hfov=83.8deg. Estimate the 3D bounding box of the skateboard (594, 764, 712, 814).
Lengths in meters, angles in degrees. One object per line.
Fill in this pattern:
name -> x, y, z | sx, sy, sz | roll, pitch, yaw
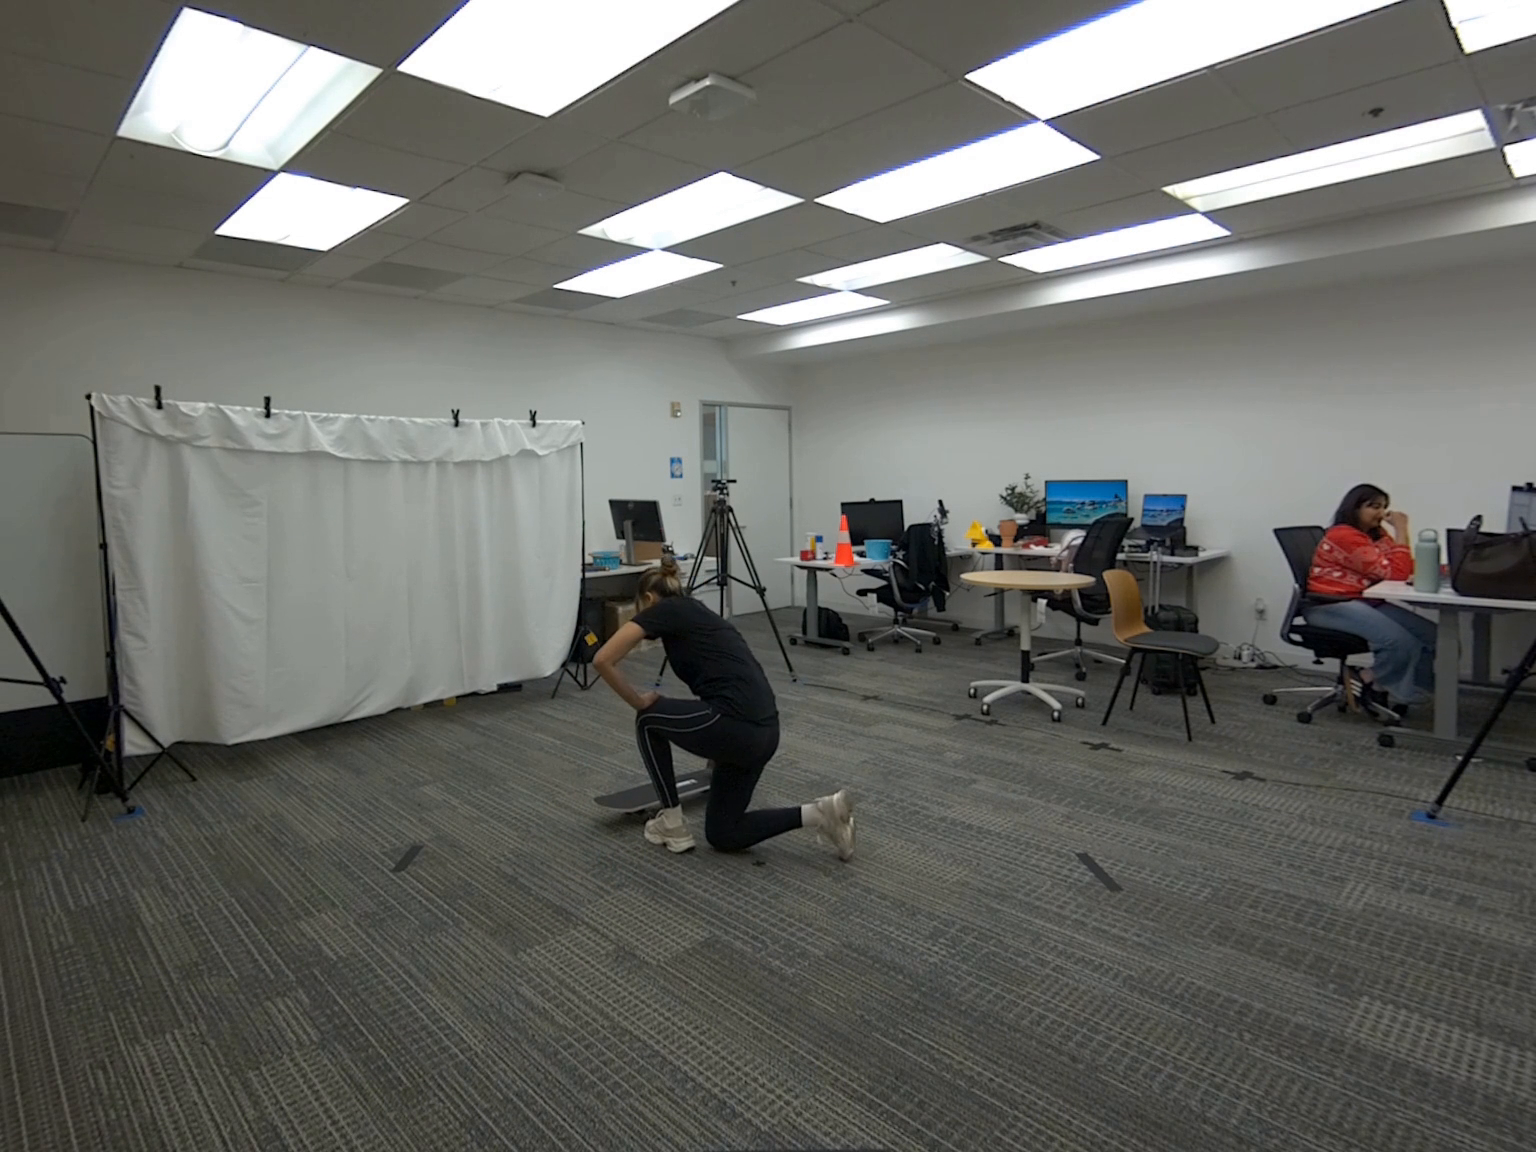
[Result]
skateboard -> -0.391, 0.929, 3.670 | 0.765, 0.110, 0.199 | -6, 8, -38
